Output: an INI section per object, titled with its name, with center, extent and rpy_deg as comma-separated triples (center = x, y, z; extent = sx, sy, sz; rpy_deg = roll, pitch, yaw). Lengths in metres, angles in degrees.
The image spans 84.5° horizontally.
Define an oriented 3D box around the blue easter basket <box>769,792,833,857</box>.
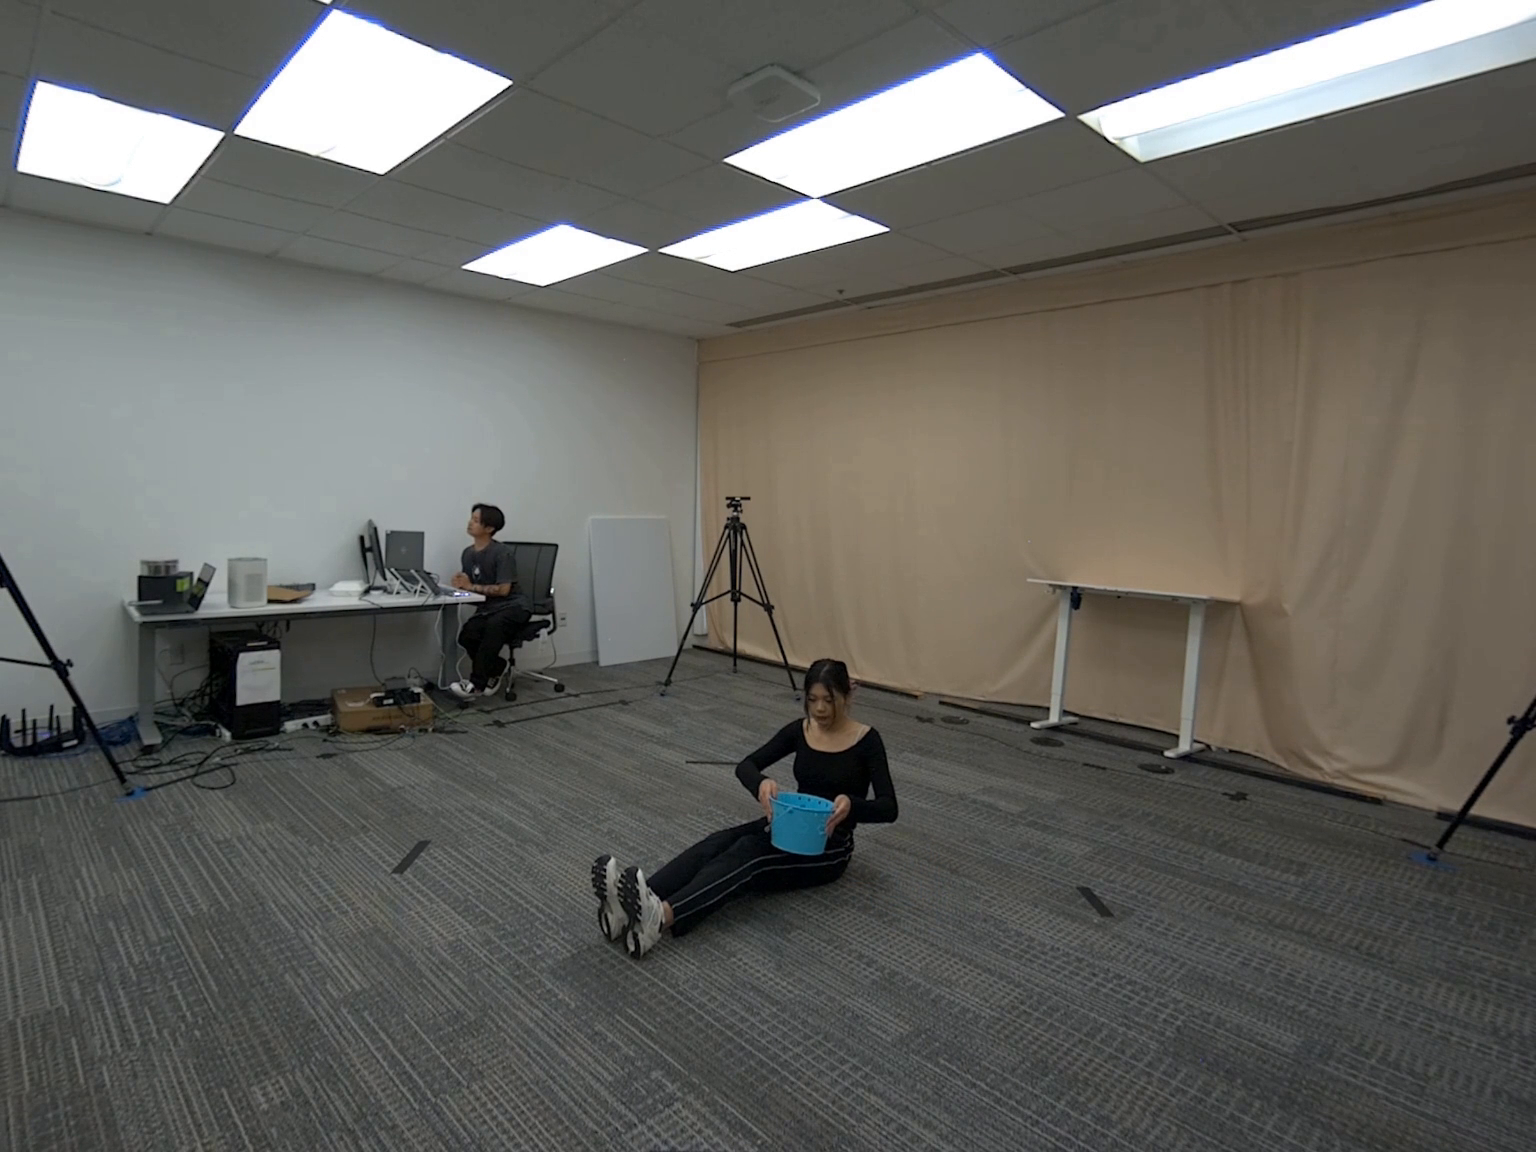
[blue easter basket]
center = 0.099, 0.850, 2.862
extent = 0.243, 0.156, 0.243
rpy_deg = 7, -1, -1
